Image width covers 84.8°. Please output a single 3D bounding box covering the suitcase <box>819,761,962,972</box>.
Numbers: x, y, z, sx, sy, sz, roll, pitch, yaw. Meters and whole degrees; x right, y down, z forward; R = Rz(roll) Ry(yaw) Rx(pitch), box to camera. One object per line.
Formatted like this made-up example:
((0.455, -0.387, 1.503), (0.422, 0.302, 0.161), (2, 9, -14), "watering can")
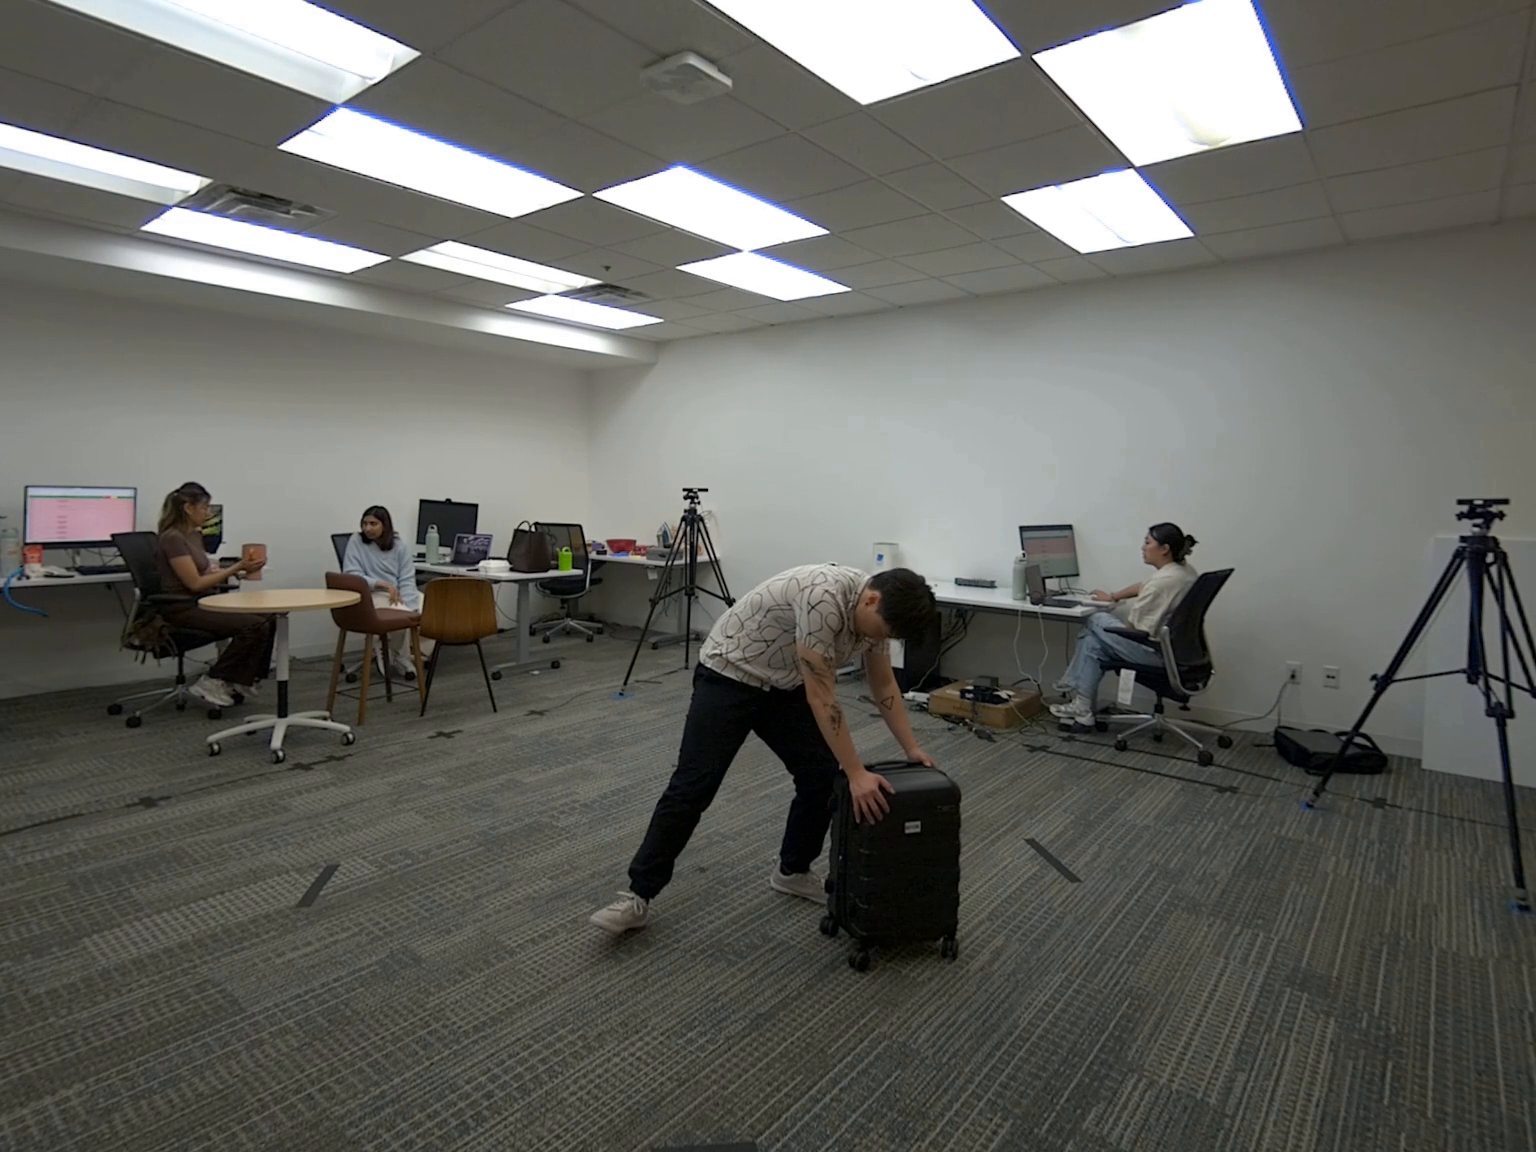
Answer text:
((0.382, 0.854, 2.619), (0.368, 0.548, 0.253), (1, 2, -18), "suitcase")
